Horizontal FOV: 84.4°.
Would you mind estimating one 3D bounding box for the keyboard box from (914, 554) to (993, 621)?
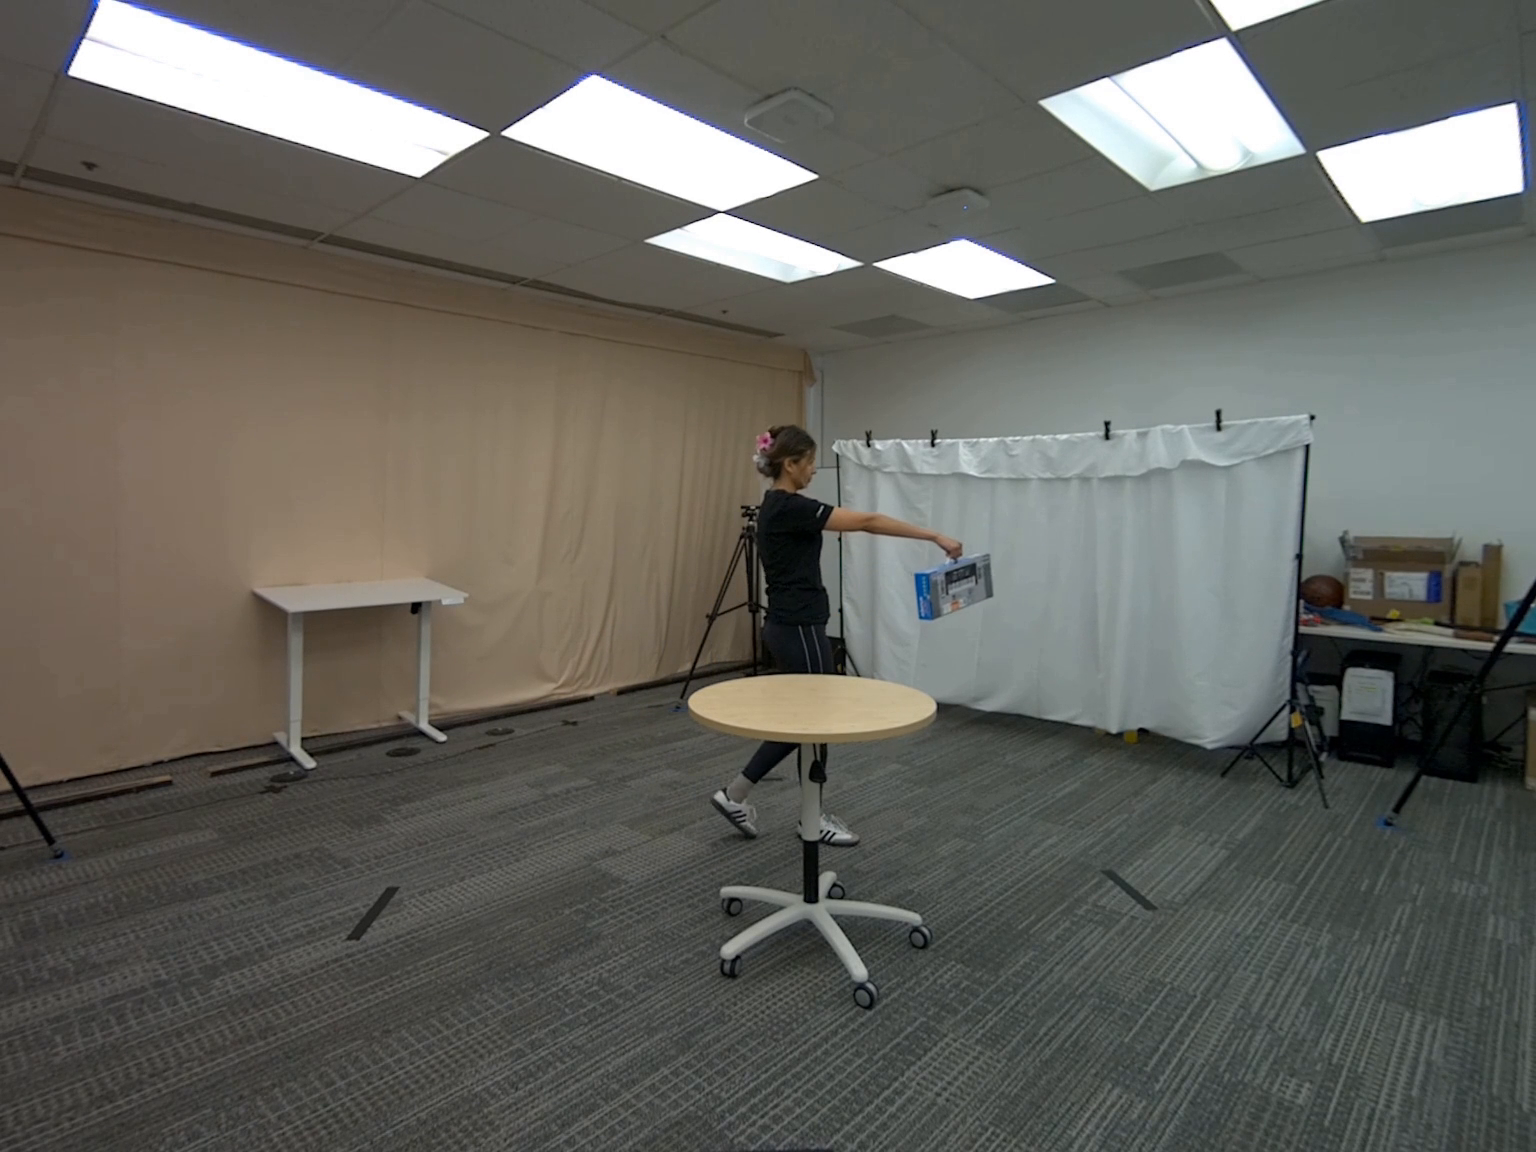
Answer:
[{"bbox_3d":[0.709,0.042,3.173,0.061,0.175,0.425,0,10,45],"label":"keyboard box"}]
